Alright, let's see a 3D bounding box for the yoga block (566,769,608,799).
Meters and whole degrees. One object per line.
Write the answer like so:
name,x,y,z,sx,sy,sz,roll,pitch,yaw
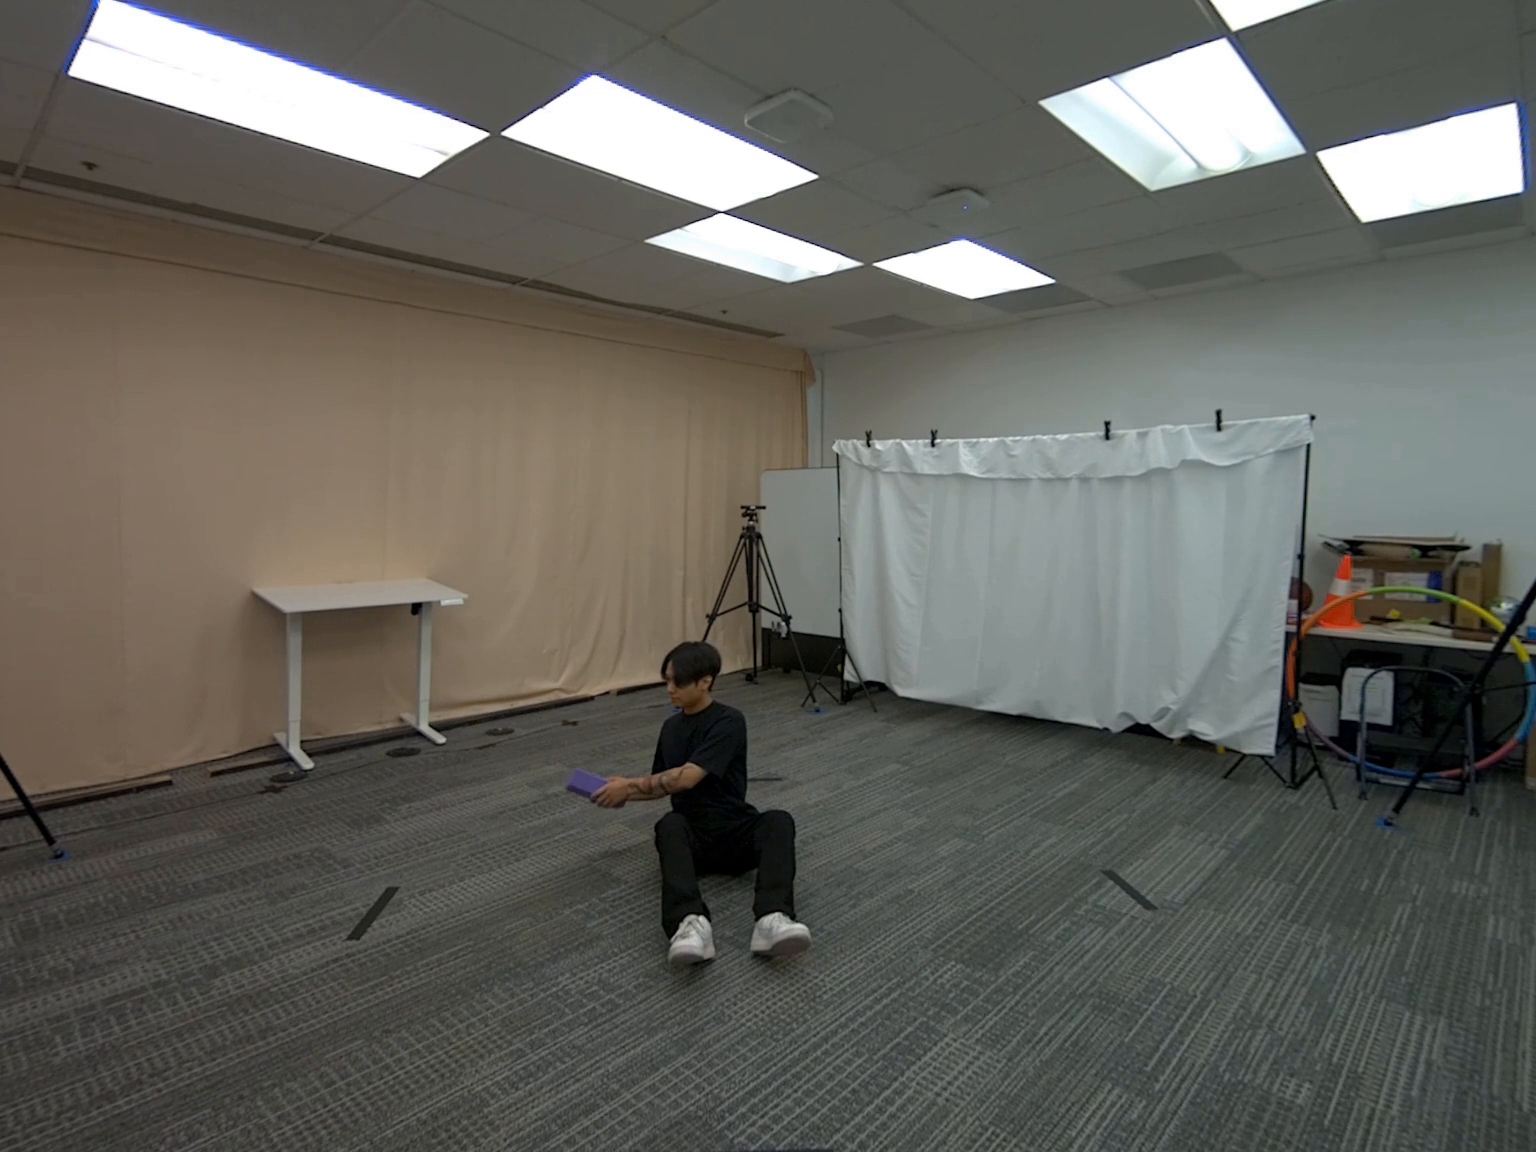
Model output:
yoga block,-0.658,0.831,3.282,0.226,0.077,0.150,21,-21,-13
